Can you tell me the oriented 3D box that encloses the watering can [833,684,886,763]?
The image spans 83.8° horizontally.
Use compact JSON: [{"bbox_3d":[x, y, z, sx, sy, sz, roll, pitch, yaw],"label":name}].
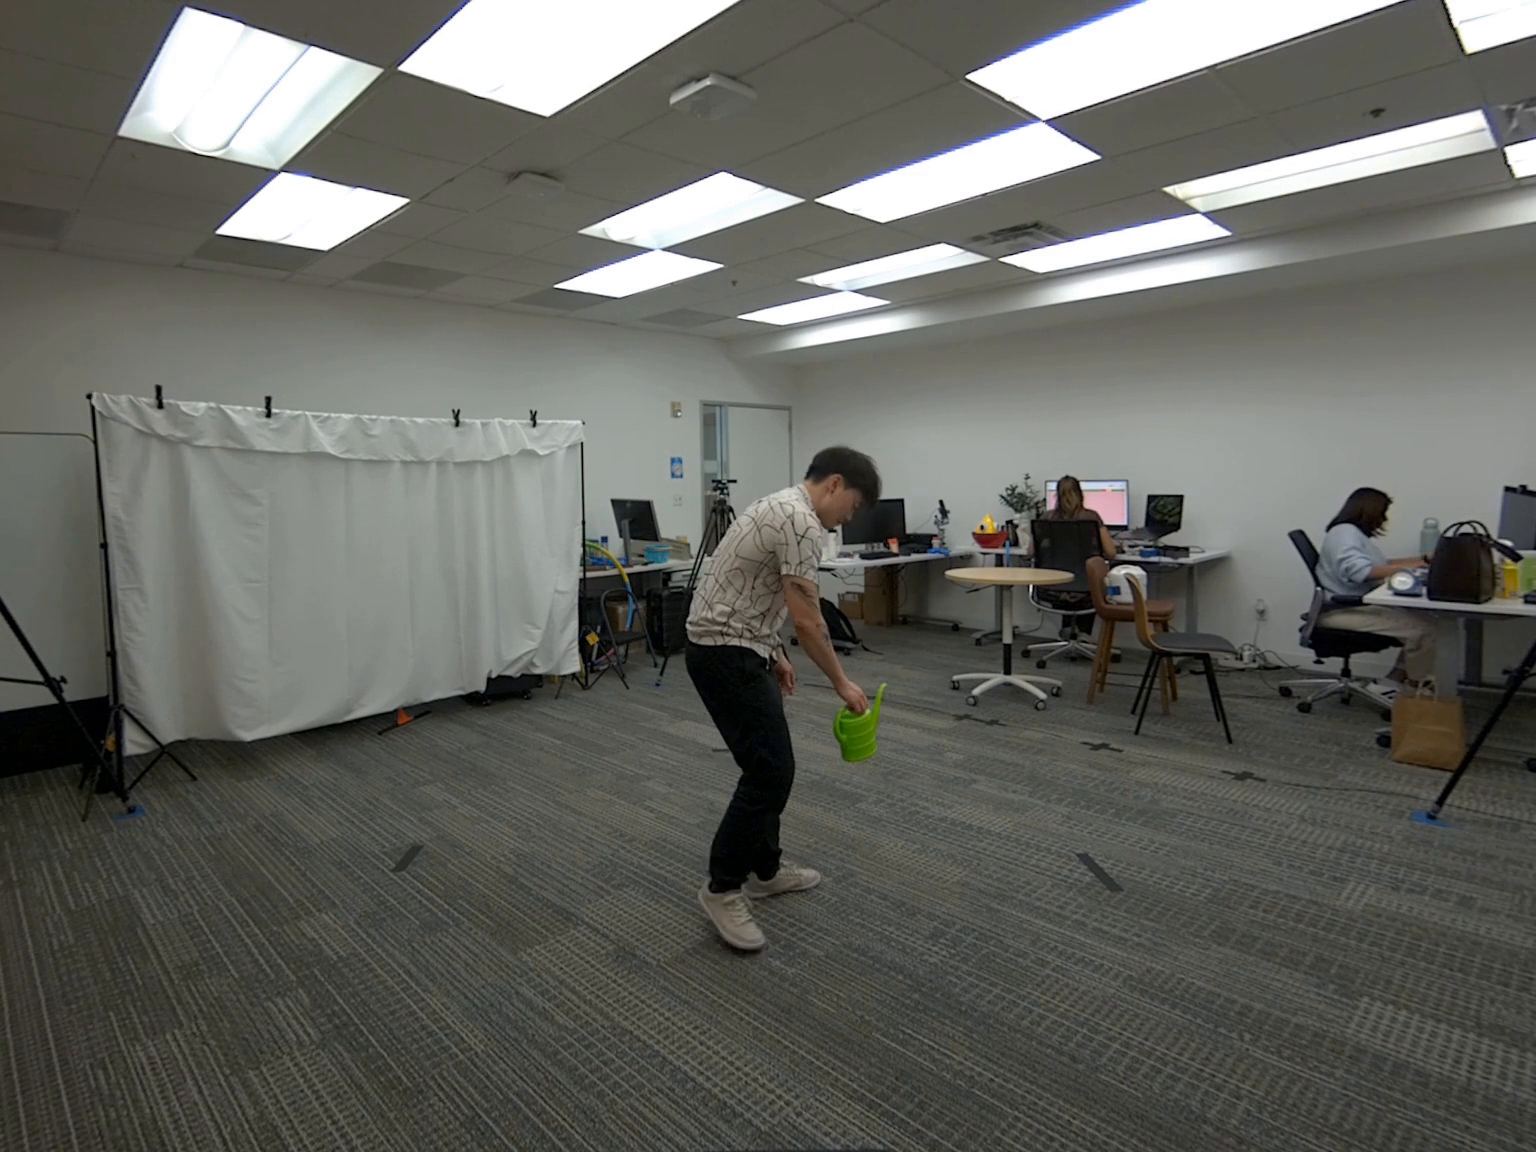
[{"bbox_3d":[0.307,0.472,2.708,0.274,0.175,0.100,-16,8,-27],"label":"watering can"}]
